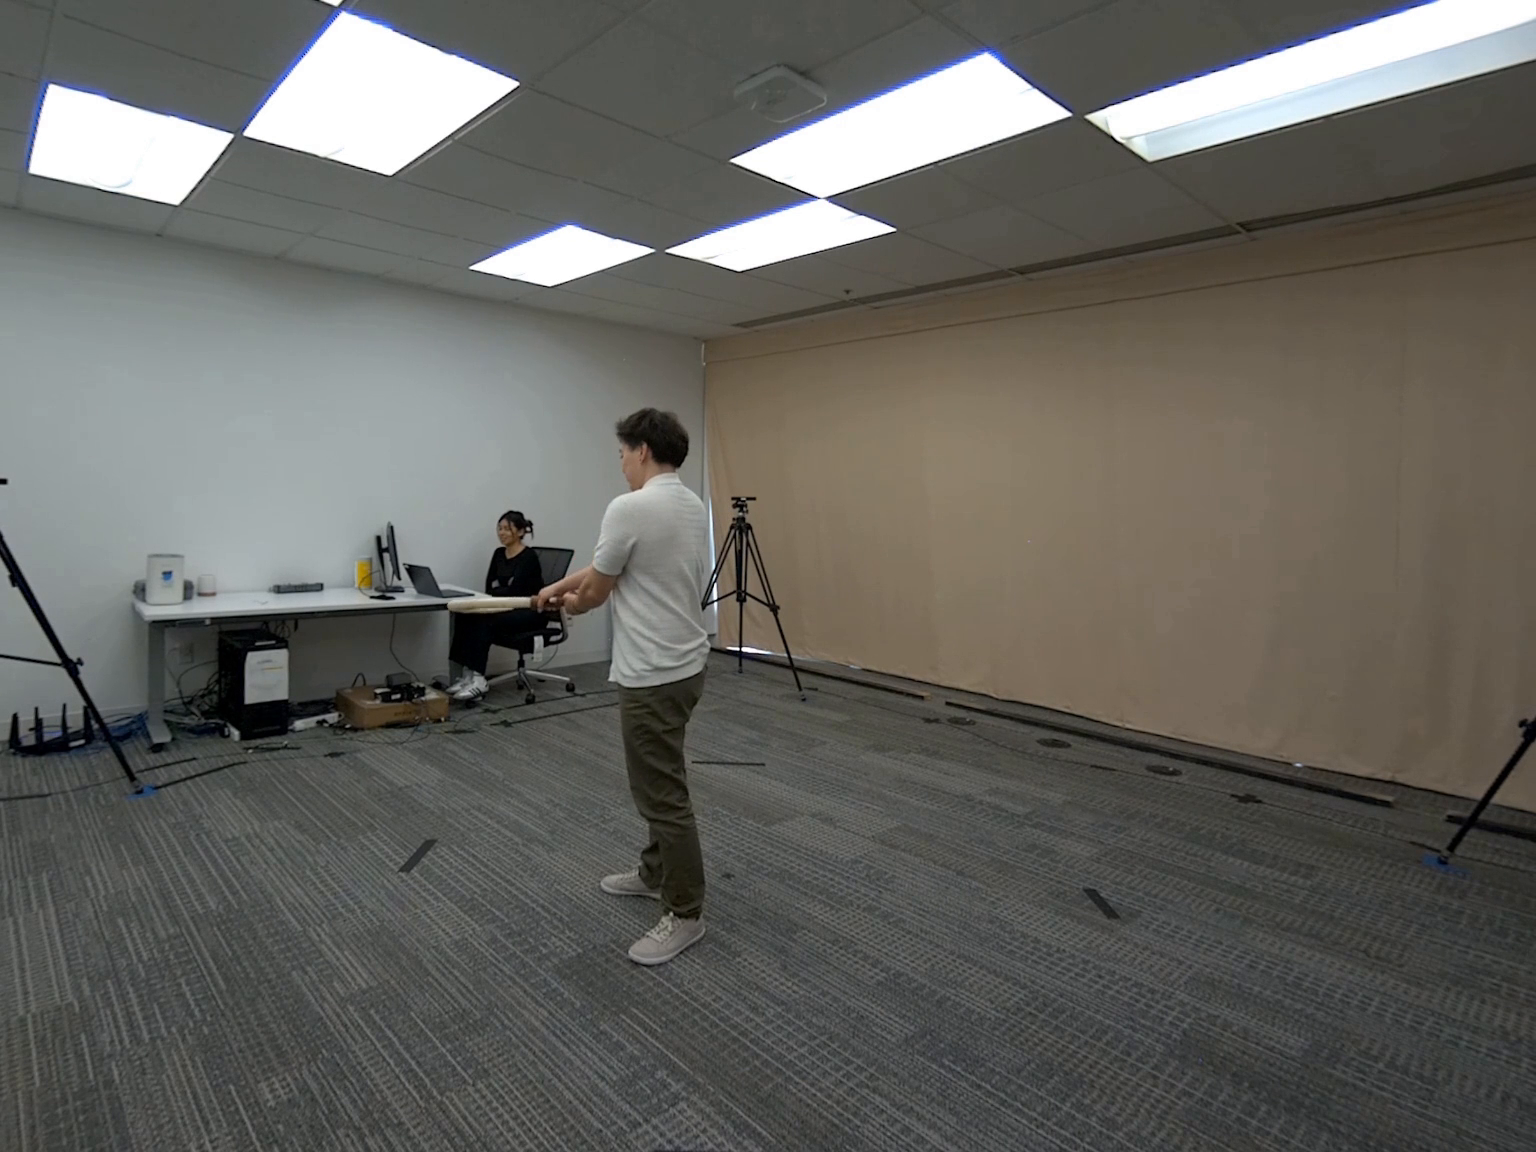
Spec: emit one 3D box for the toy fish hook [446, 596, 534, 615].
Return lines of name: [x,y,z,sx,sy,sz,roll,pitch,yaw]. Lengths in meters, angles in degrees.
toy fish hook: [-0.876,0.093,3.004,0.508,0.048,0.223,0,-3,3]
